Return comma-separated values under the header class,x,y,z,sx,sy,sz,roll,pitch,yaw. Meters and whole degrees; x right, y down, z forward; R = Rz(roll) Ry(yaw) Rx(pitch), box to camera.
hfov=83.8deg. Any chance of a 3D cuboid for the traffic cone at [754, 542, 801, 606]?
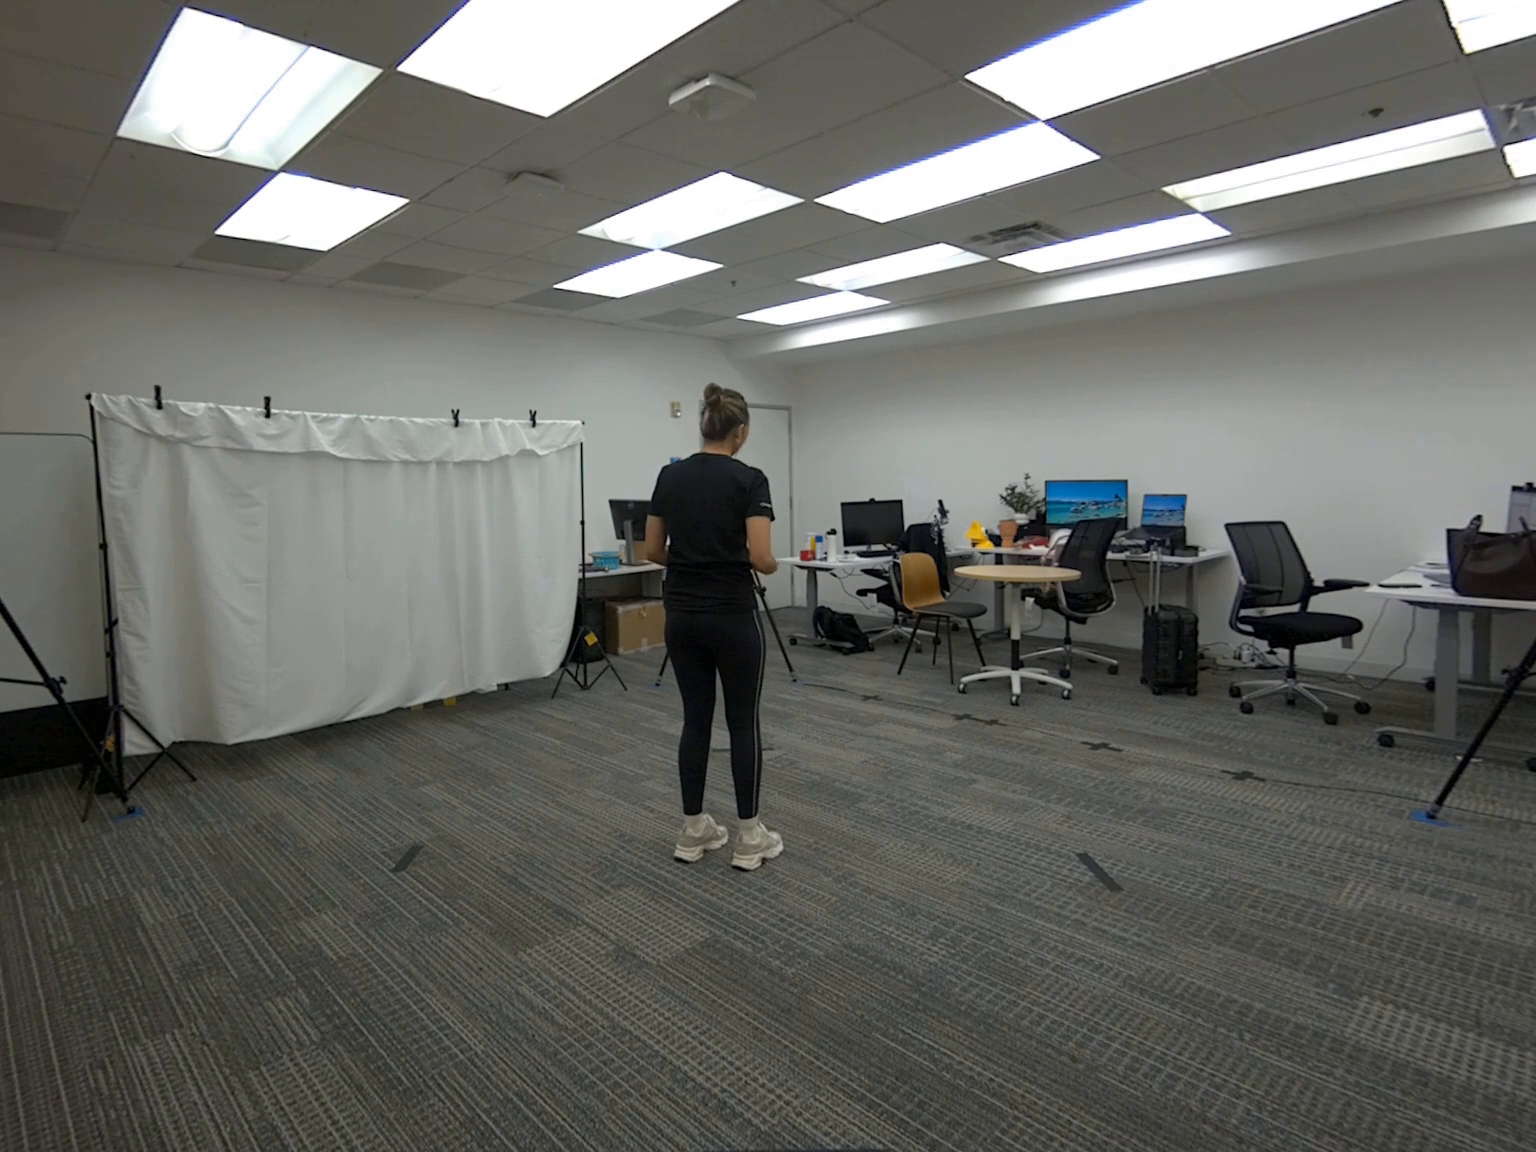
class,x,y,z,sx,sy,sz,roll,pitch,yaw
traffic cone,-0.109,-0.058,3.423,0.397,0.204,0.197,18,-6,44
